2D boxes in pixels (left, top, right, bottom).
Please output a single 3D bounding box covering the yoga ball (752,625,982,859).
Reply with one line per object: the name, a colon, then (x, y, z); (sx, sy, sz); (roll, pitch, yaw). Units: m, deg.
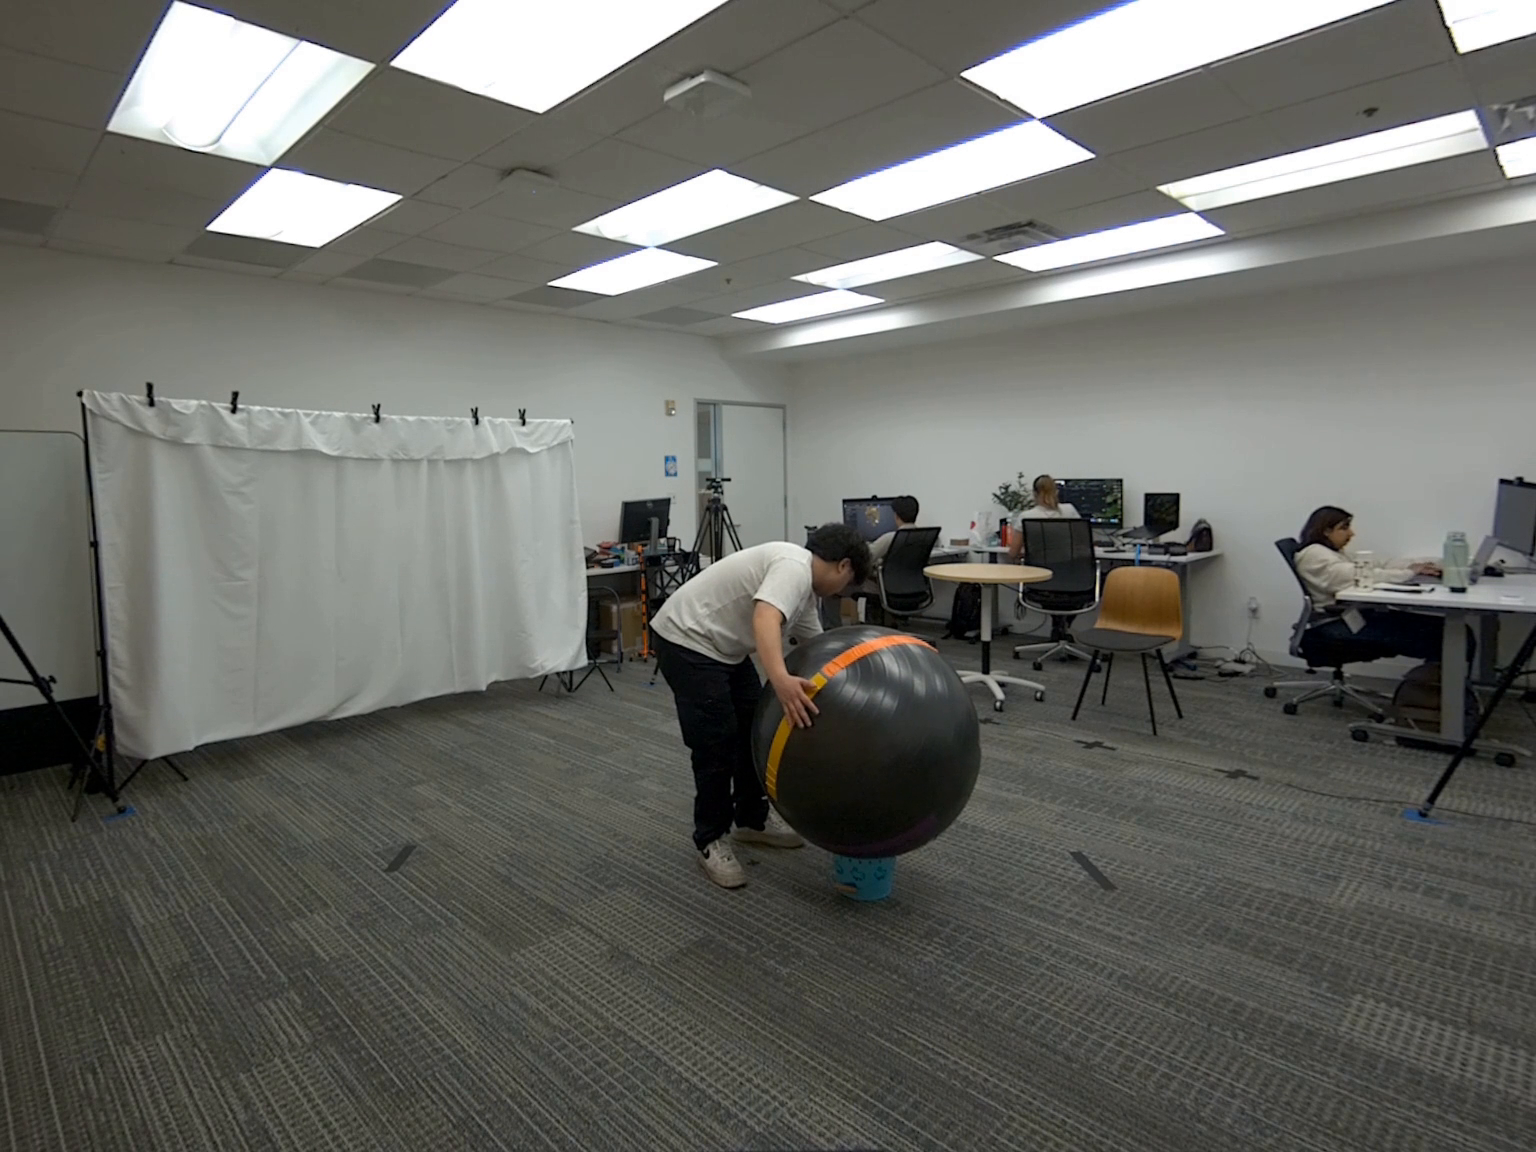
yoga ball: (0.330, 0.557, 2.861); (0.757, 0.755, 0.762); (-1, 5, -2)
